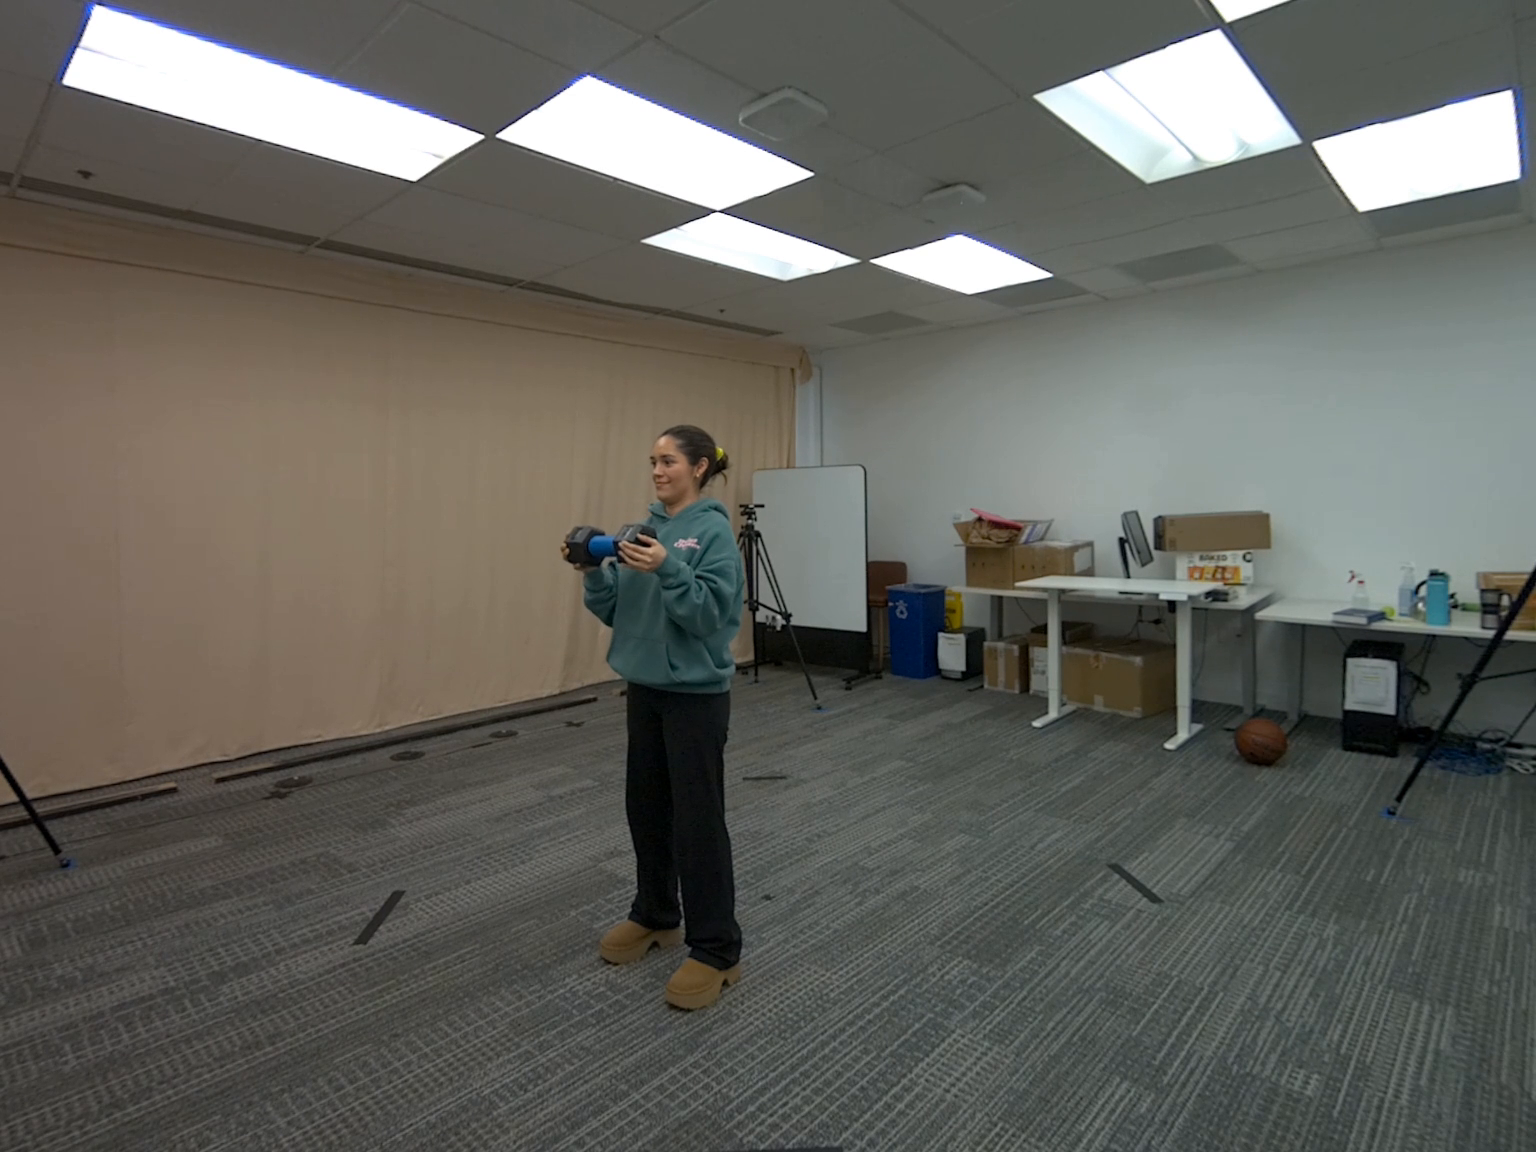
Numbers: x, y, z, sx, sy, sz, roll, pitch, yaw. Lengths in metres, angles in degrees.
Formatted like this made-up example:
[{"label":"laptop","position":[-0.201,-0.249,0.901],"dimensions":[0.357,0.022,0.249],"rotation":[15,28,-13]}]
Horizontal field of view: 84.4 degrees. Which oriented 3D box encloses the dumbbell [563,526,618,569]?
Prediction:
[{"label":"dumbbell","position":[-0.427,-0.077,2.334],"dimensions":[0.303,0.109,0.118],"rotation":[0,-9,41]}]
